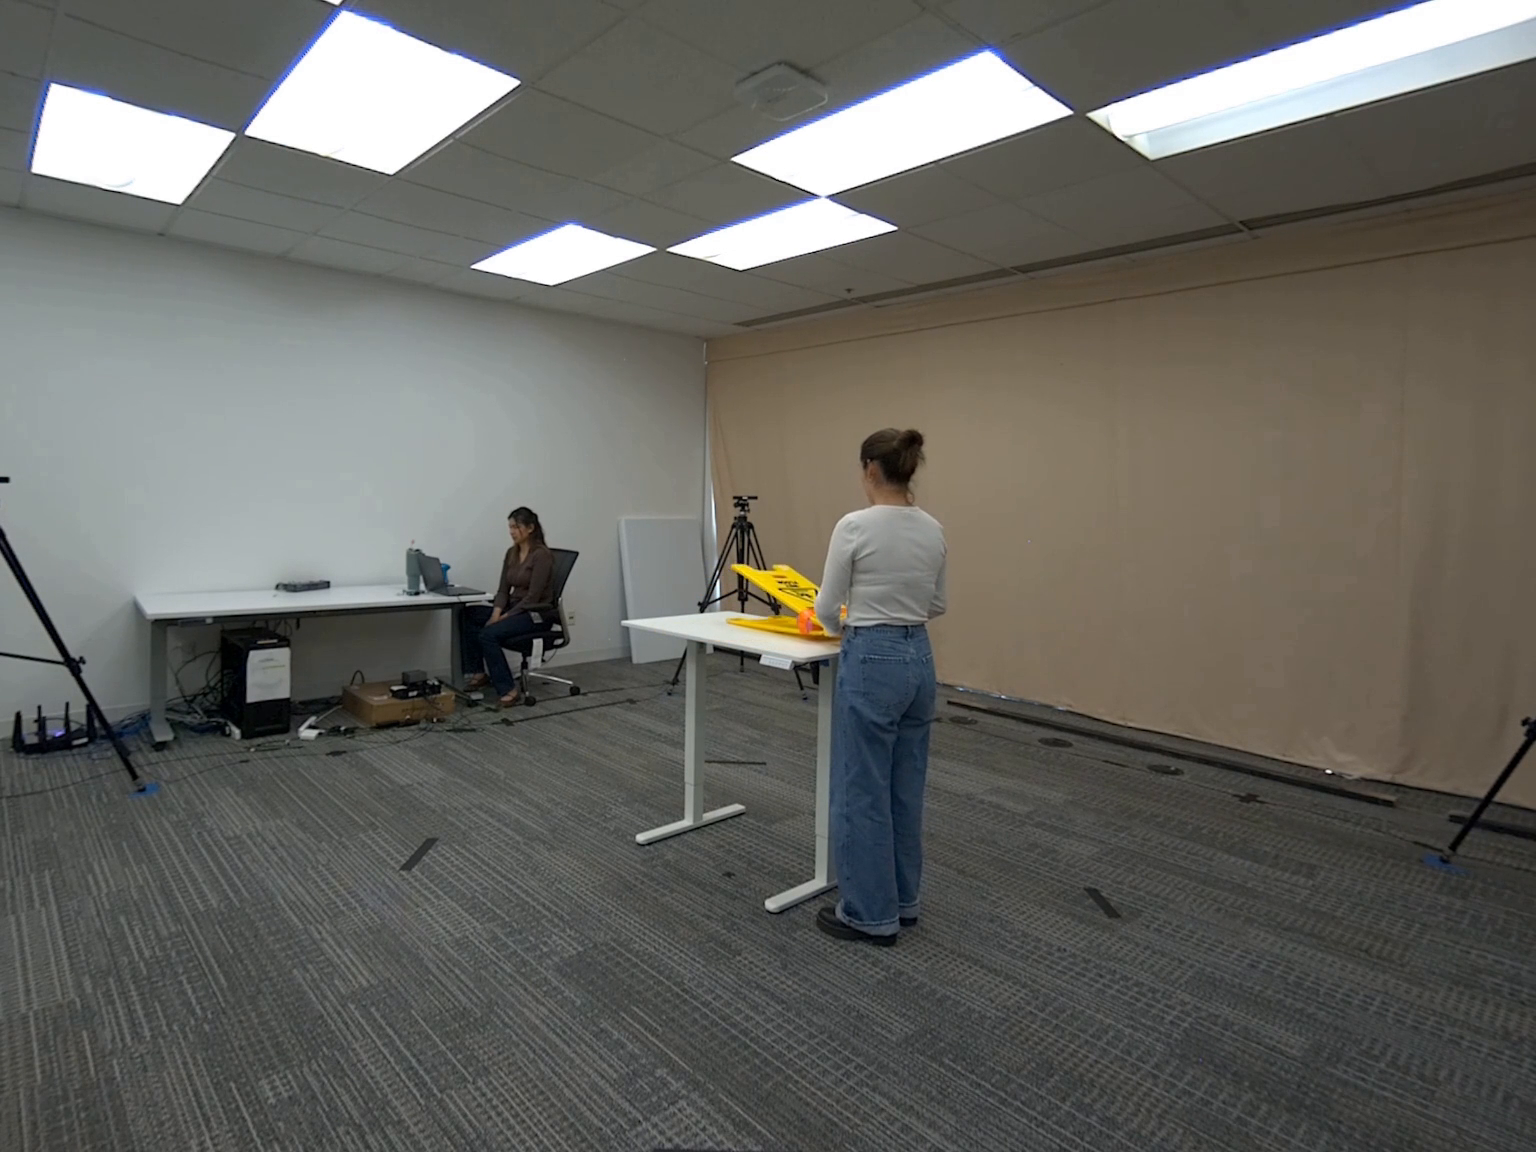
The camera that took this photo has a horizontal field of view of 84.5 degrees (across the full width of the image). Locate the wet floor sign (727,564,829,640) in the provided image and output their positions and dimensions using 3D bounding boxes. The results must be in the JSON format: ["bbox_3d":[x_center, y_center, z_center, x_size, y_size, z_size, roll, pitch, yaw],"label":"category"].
[{"bbox_3d":[0.117,0.148,3.208,0.276,0.288,0.663,0,11,-31],"label":"wet floor sign"}]
